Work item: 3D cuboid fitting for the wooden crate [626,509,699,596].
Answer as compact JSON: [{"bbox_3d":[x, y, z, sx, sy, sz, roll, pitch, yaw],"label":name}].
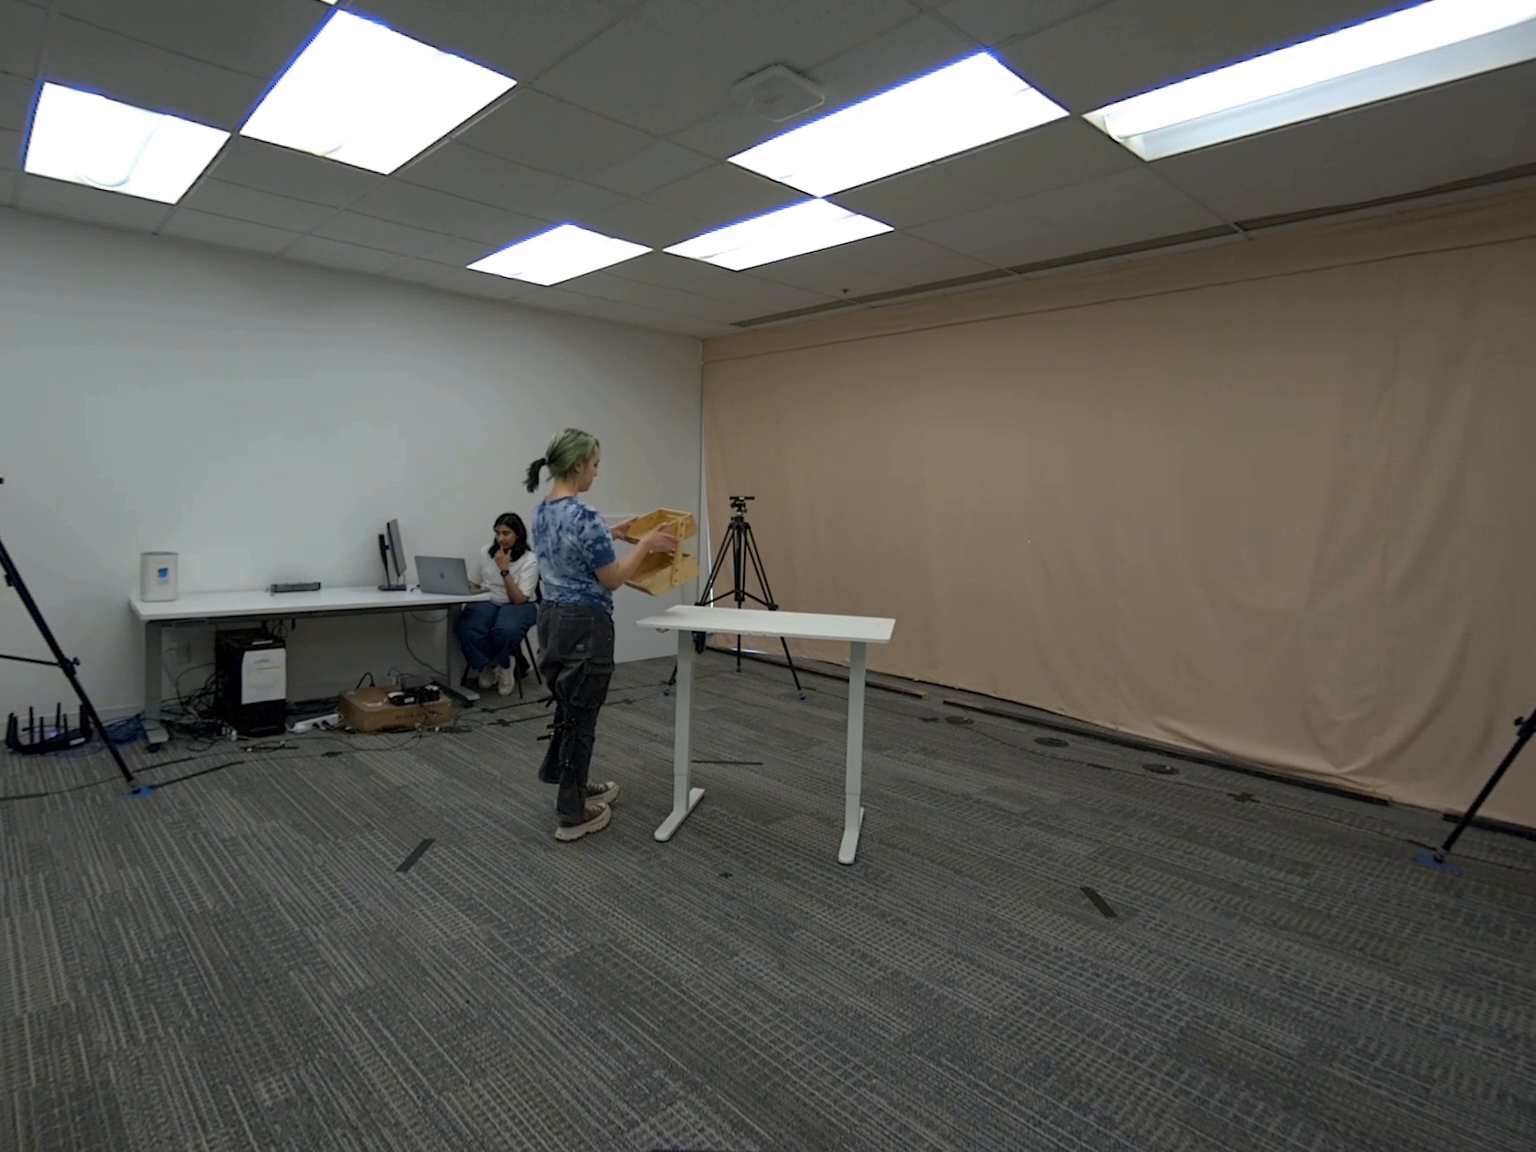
[{"bbox_3d":[-0.500,-0.110,3.639,0.299,0.269,0.333,-26,21,-26],"label":"wooden crate"}]
